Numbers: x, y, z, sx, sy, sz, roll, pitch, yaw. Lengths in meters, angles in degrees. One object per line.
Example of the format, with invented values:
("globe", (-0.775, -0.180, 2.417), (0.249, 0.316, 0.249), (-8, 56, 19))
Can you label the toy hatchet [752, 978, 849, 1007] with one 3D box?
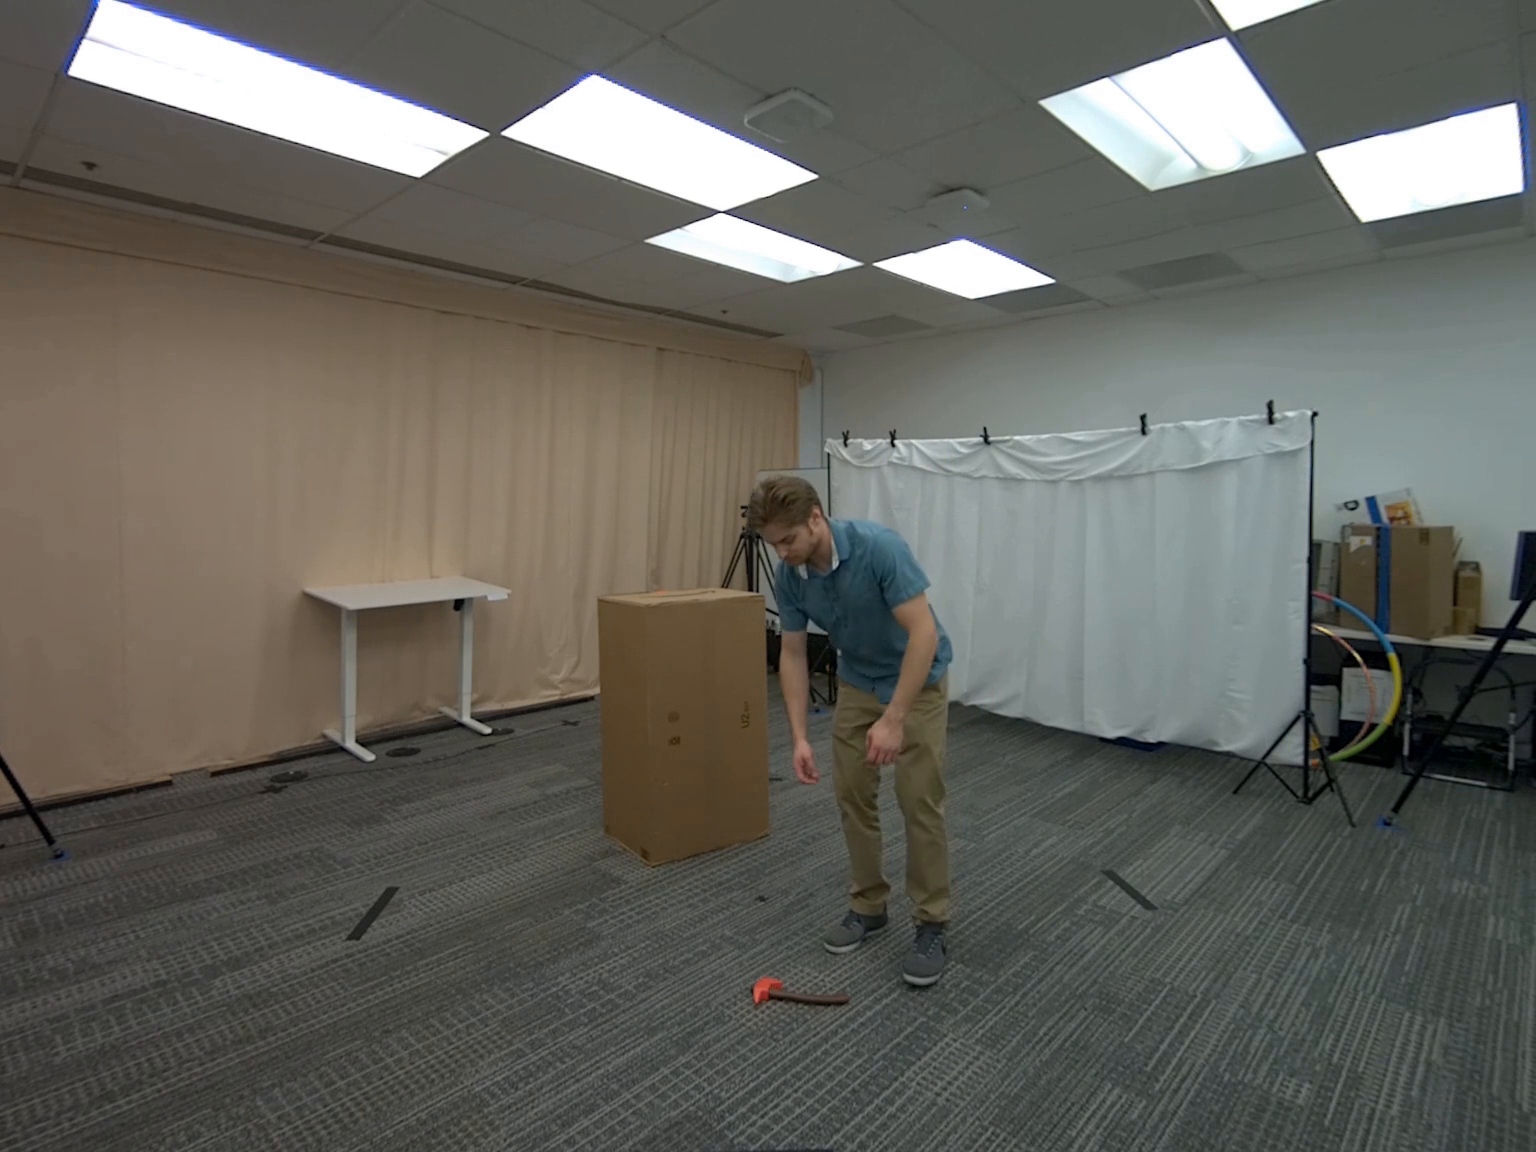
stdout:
("toy hatchet", (0.095, 1.181, 2.396), (0.268, 0.029, 0.132), (2, 0, -6))
